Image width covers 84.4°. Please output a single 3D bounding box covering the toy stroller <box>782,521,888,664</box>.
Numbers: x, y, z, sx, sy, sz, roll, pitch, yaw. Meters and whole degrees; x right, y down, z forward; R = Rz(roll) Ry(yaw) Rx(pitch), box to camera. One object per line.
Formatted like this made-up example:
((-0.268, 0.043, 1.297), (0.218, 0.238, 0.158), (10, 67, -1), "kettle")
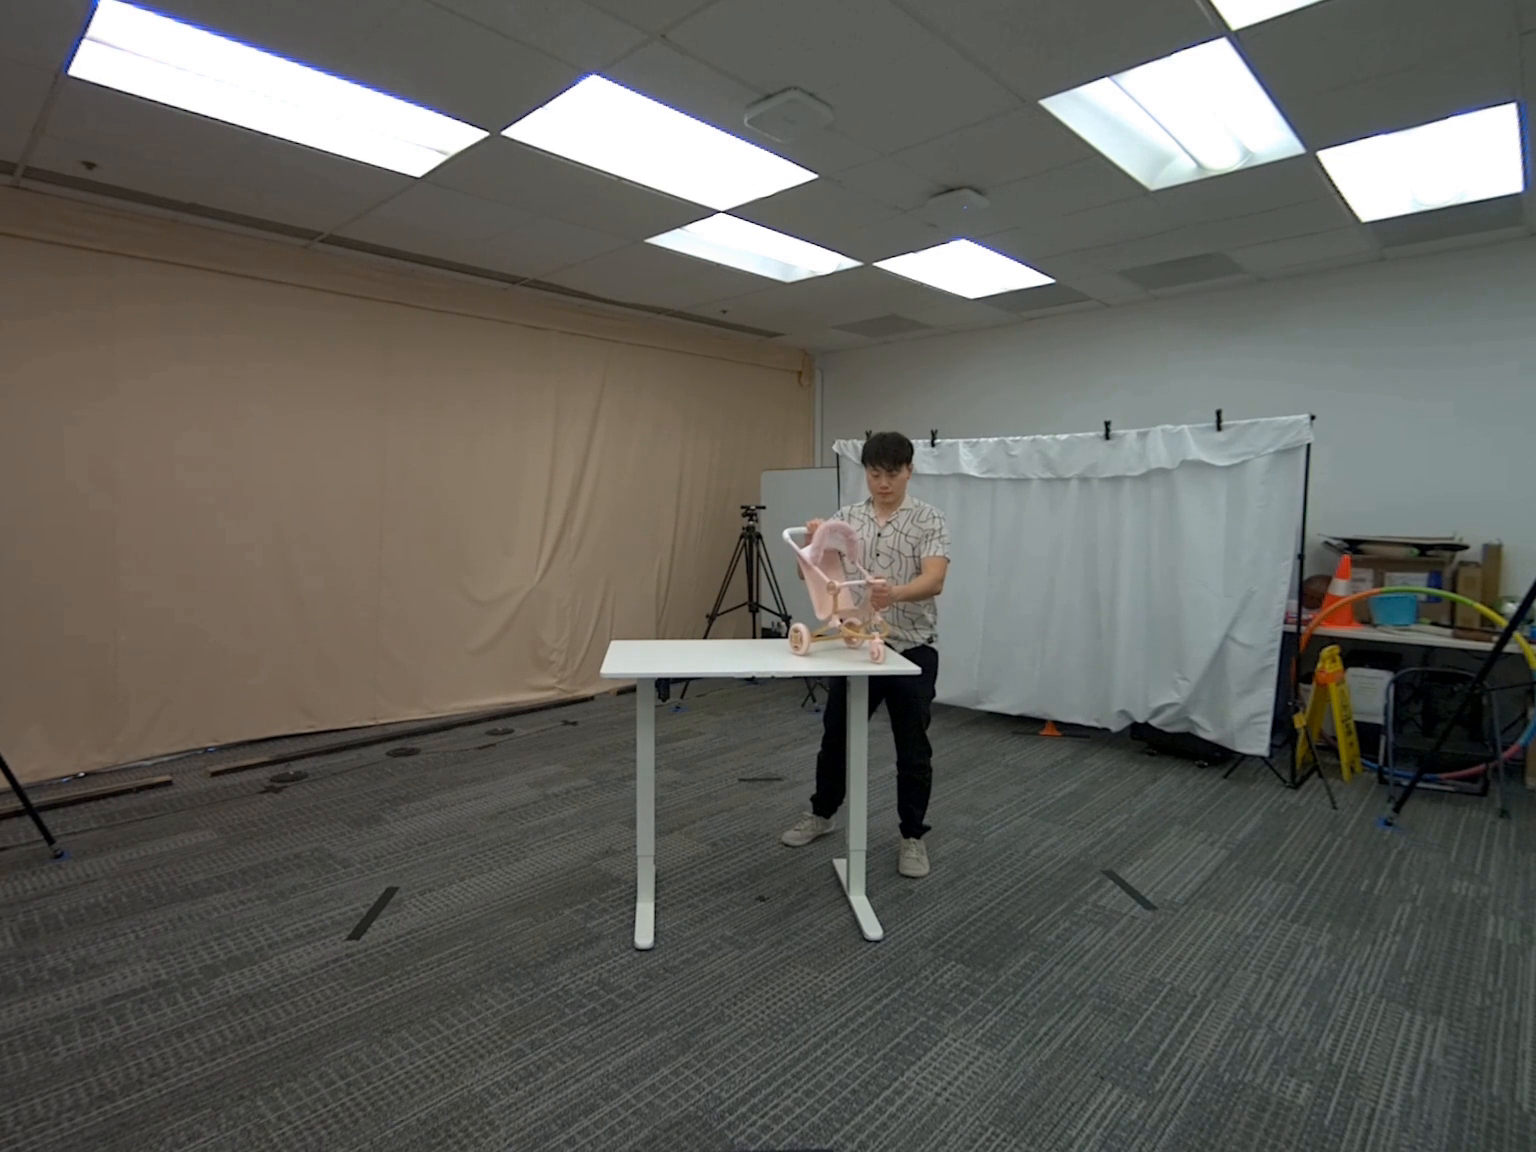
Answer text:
((0.245, 0.048, 2.880), (0.274, 0.539, 0.348), (-2, -12, -29), "toy stroller")
